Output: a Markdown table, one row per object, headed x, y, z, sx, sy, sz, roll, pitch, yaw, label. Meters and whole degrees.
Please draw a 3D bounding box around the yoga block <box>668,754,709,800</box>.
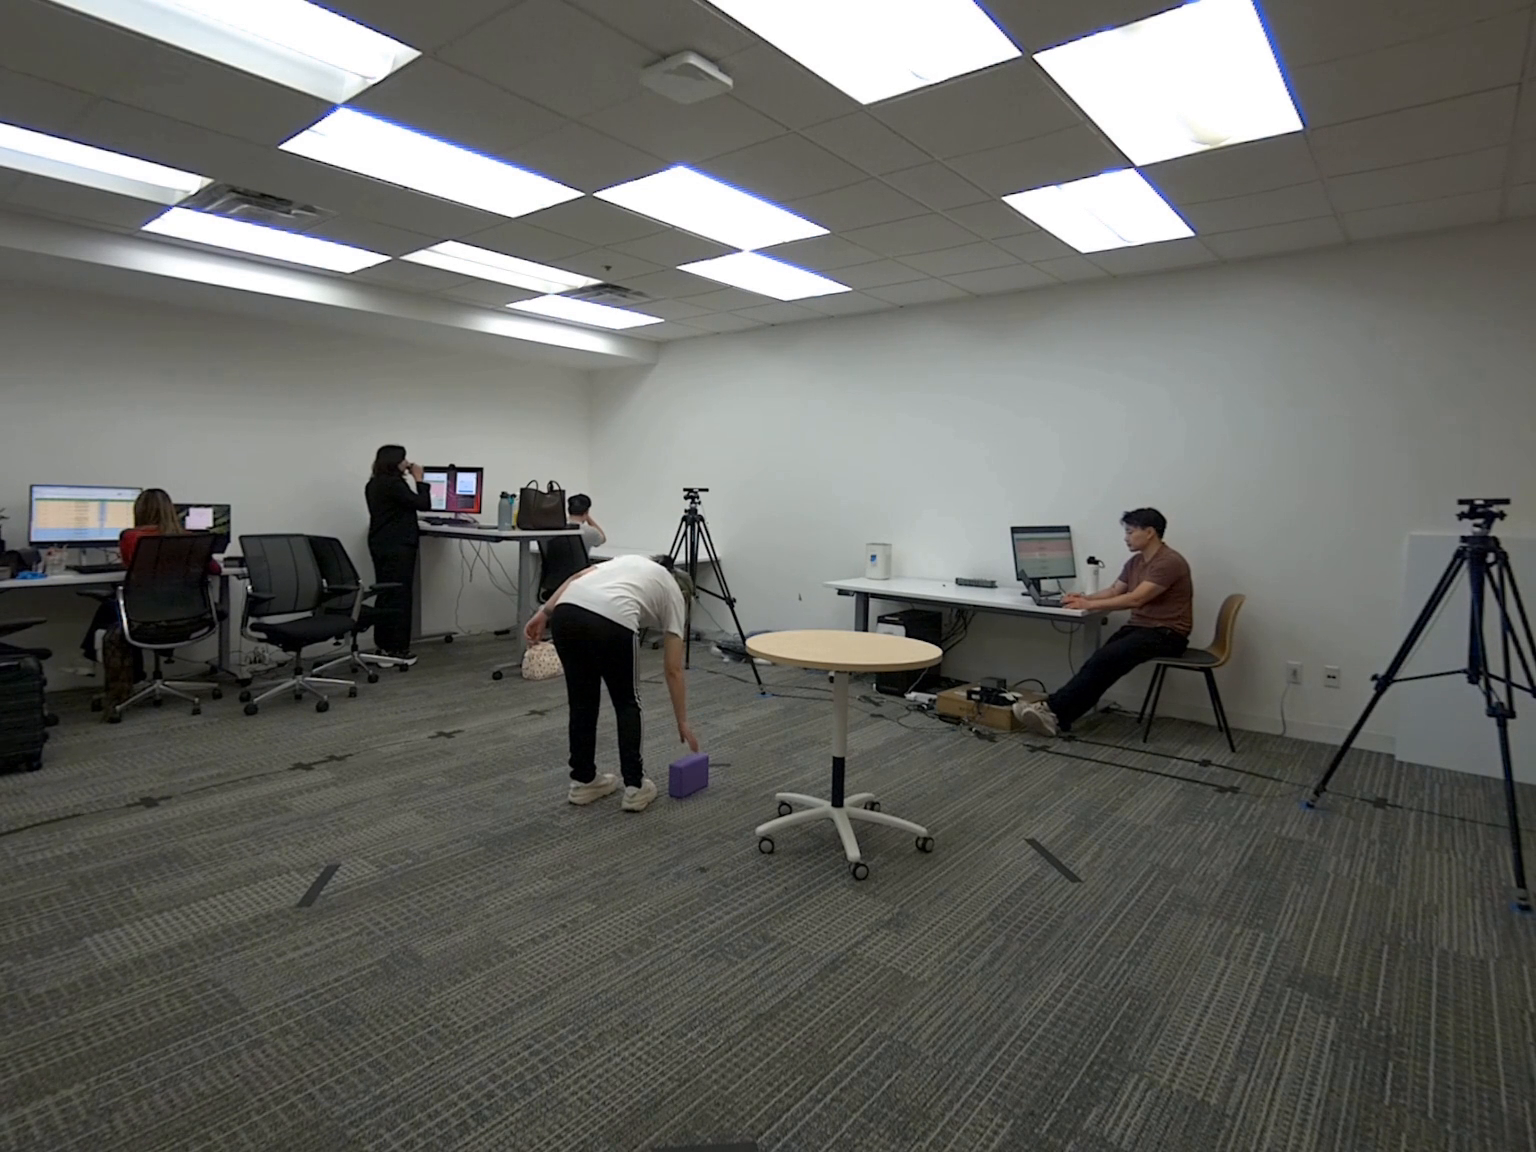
| x | y | z | sx | sy | sz | roll | pitch | yaw | label |
| --- | --- | --- | --- | --- | --- | --- | --- | --- | --- |
| -0.376 | 0.912 | 3.920 | 0.079 | 0.149 | 0.223 | 5 | 4 | 31 | yoga block |
